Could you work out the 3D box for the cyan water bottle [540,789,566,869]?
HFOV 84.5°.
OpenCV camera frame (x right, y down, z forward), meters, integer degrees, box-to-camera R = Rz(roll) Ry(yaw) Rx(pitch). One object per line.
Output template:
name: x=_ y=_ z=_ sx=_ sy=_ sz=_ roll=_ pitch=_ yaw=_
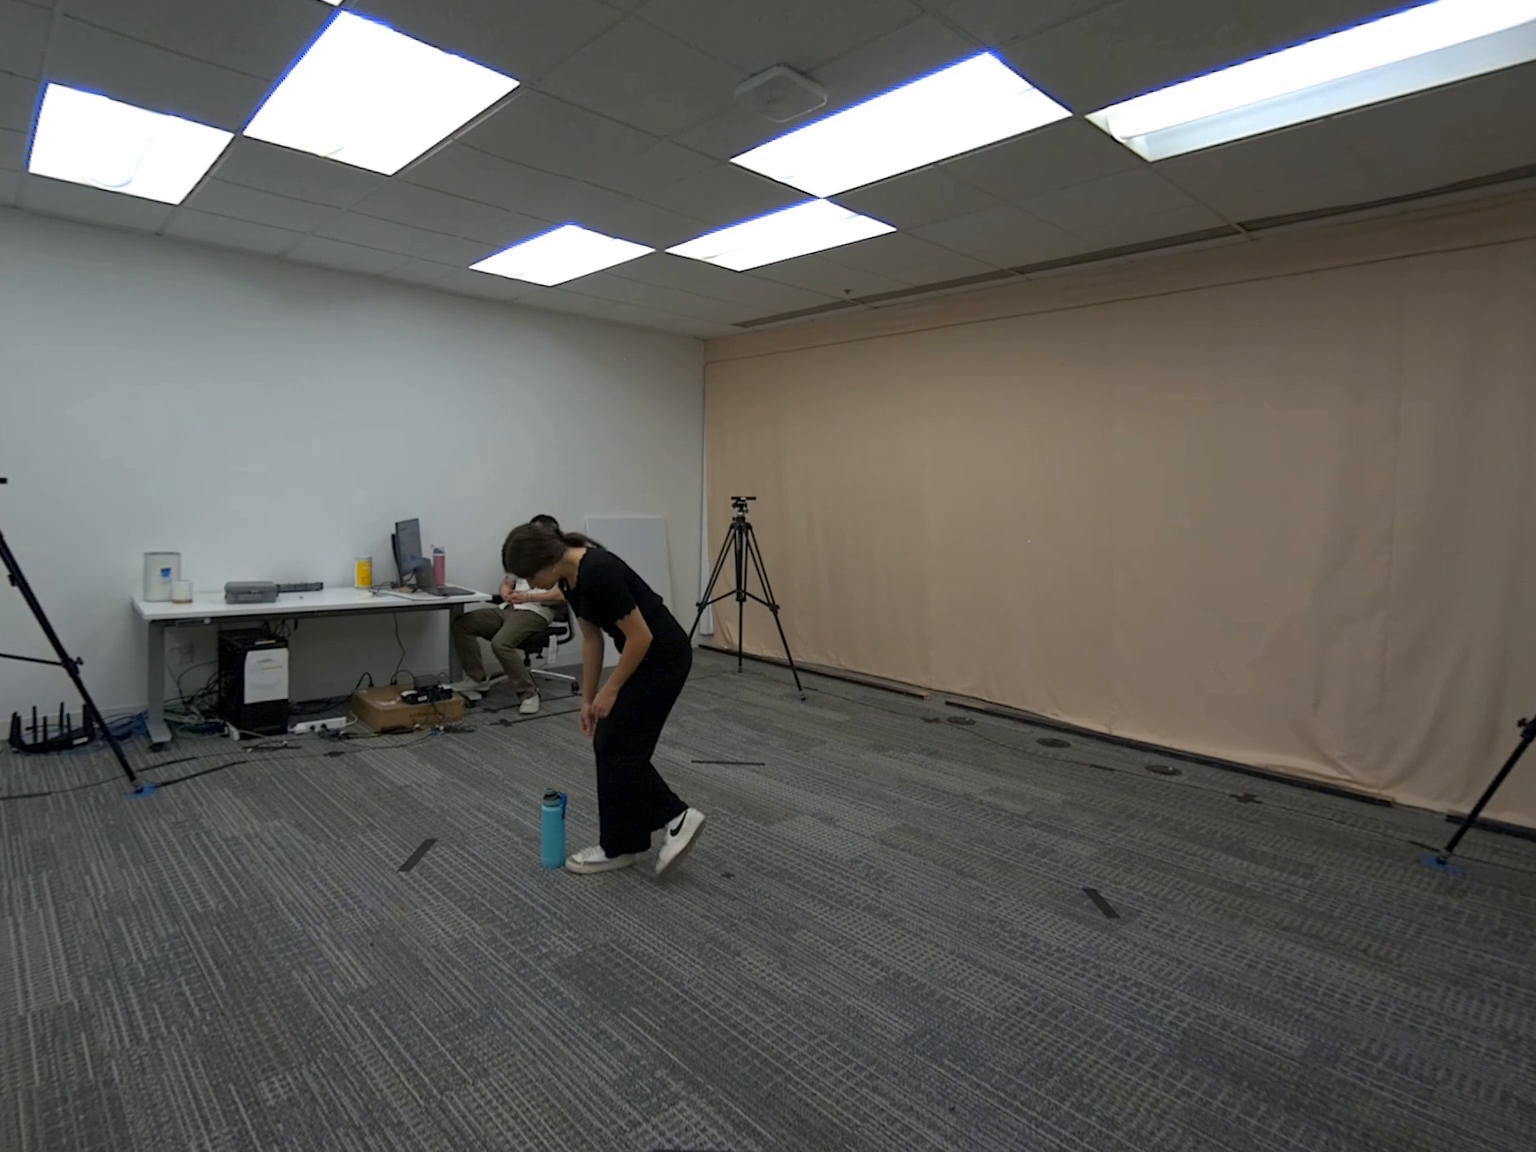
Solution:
cyan water bottle: x=-0.806 y=0.935 z=3.174 sx=0.092 sy=0.283 sz=0.092 roll=2 pitch=2 yaw=-1
